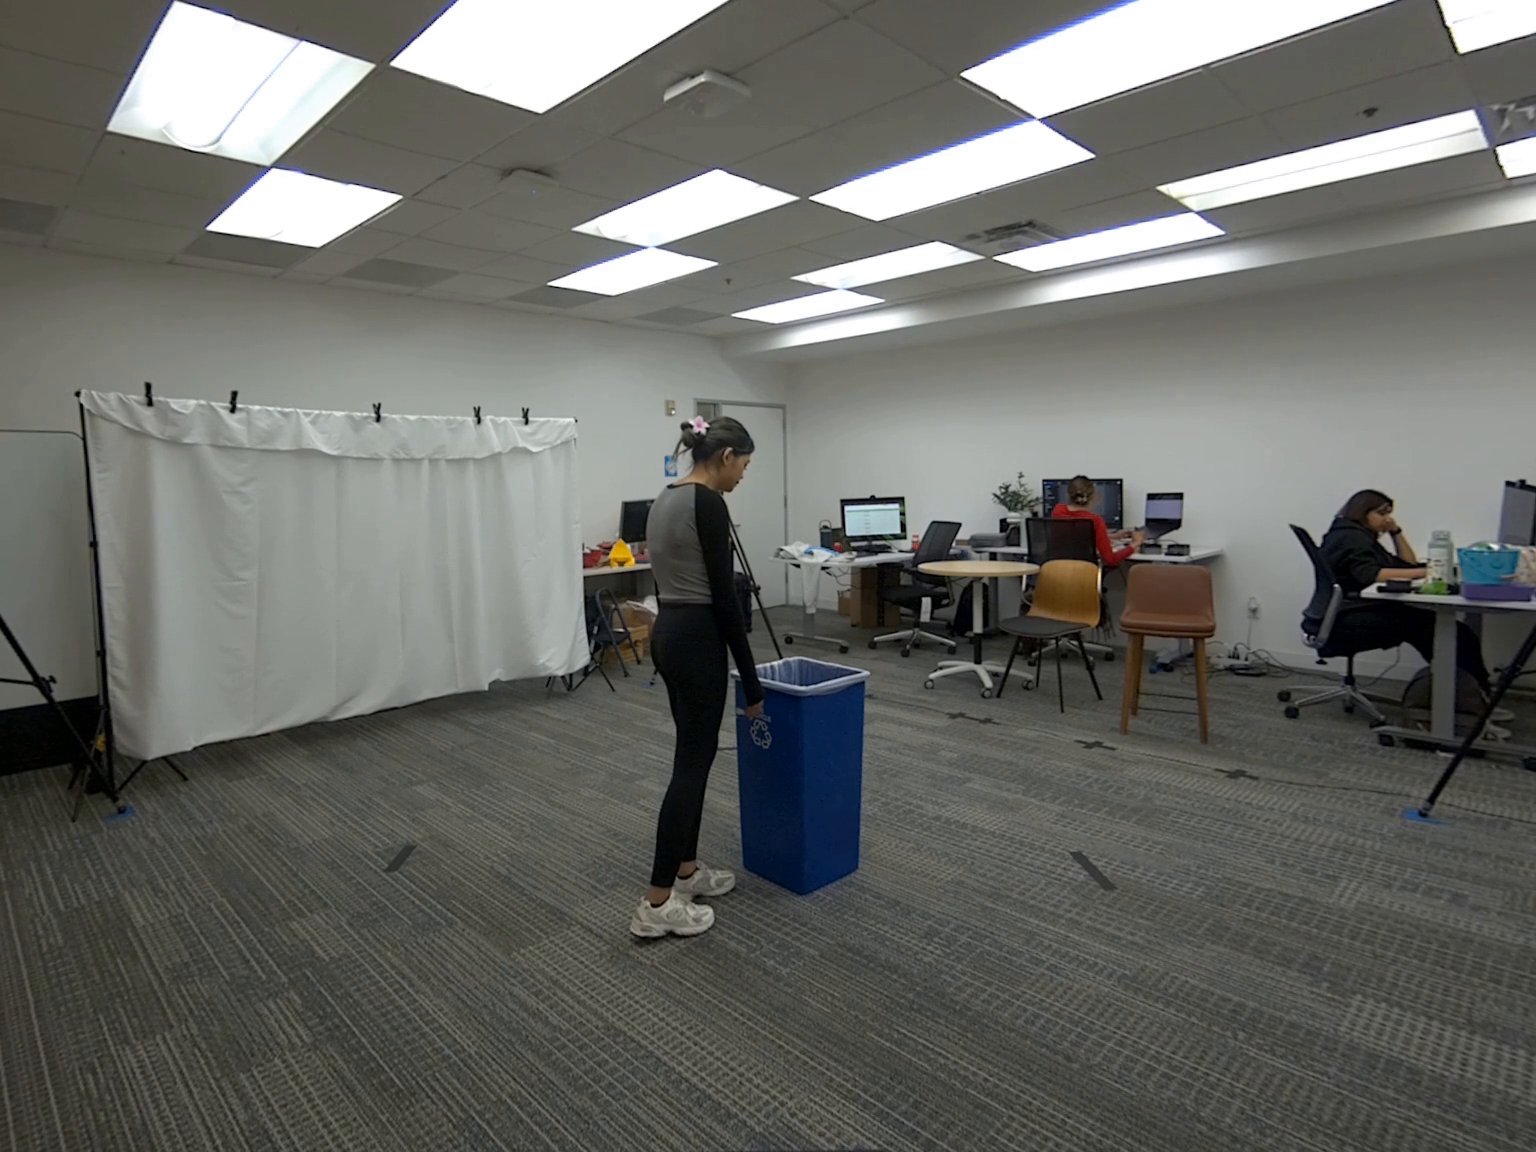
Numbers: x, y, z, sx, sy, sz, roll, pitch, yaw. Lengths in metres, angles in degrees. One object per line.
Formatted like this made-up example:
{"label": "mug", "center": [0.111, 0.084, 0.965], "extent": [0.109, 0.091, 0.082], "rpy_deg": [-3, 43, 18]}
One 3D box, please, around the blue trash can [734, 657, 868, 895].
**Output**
{"label": "blue trash can", "center": [0.124, 0.690, 3.033], "extent": [0.368, 0.711, 0.385], "rpy_deg": [-5, 6, -43]}
